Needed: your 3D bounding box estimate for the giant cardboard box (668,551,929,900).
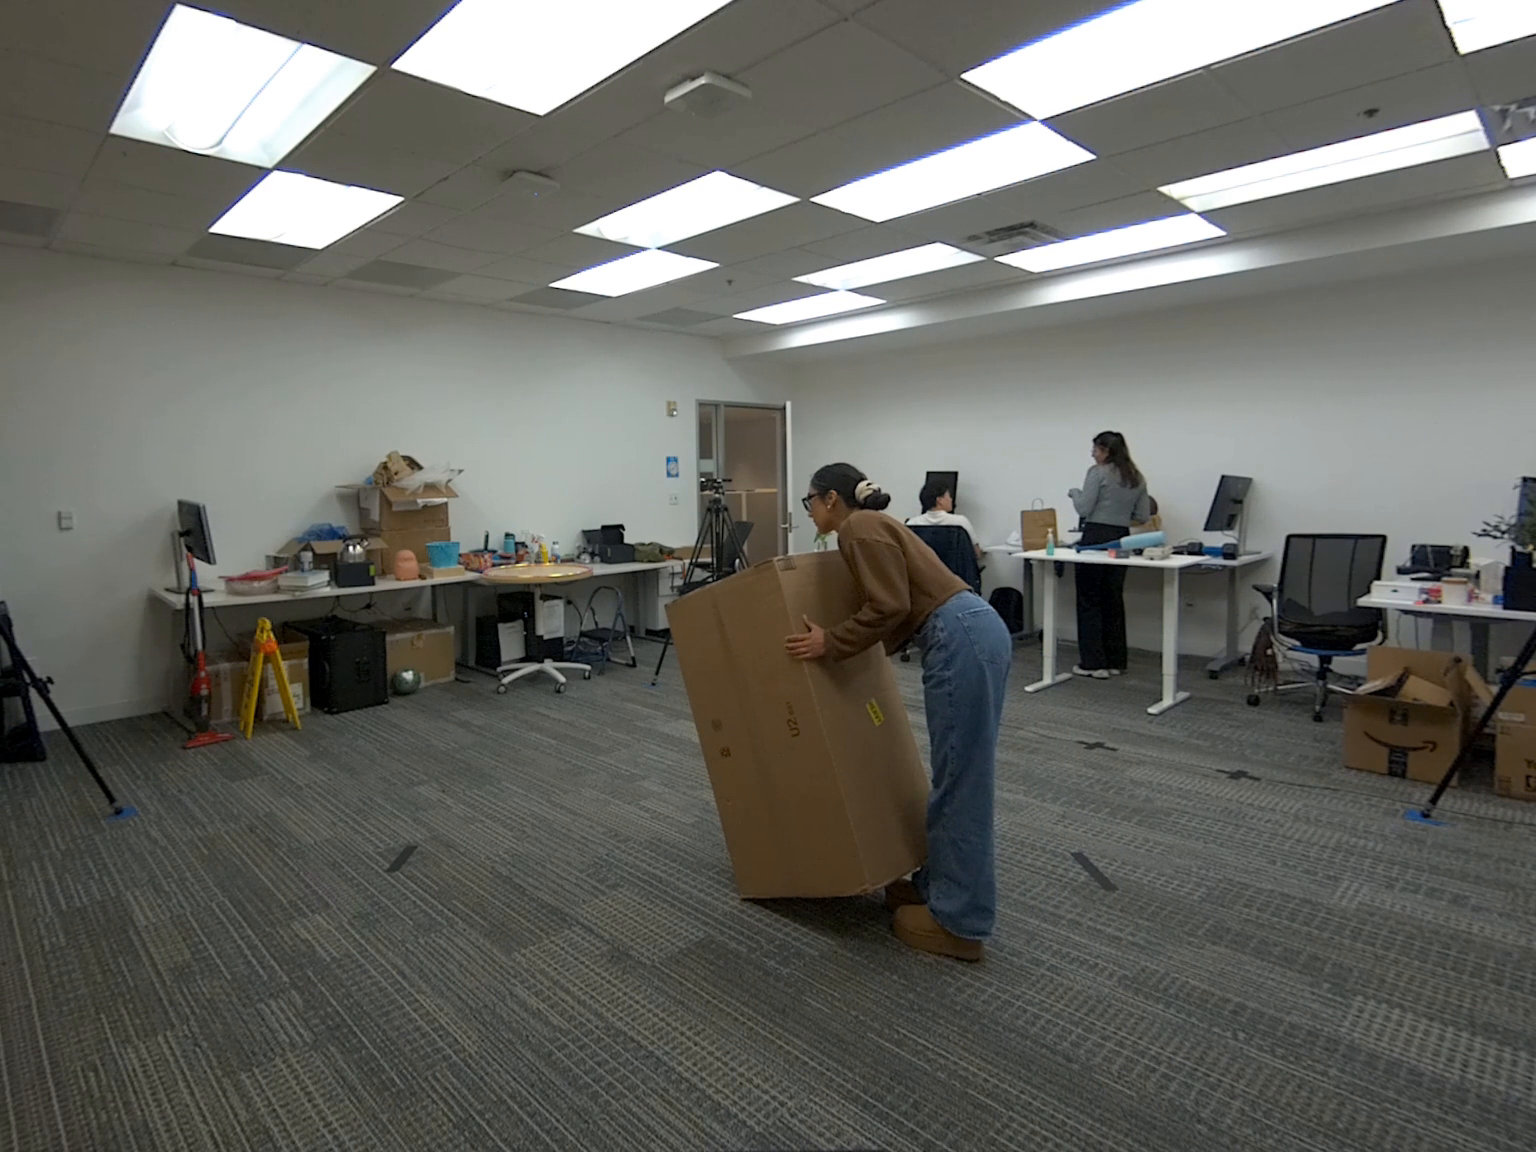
[{"bbox_3d":[0.105,0.492,2.896,0.415,1.039,0.585,-5,-15,-46],"label":"giant cardboard box"}]
